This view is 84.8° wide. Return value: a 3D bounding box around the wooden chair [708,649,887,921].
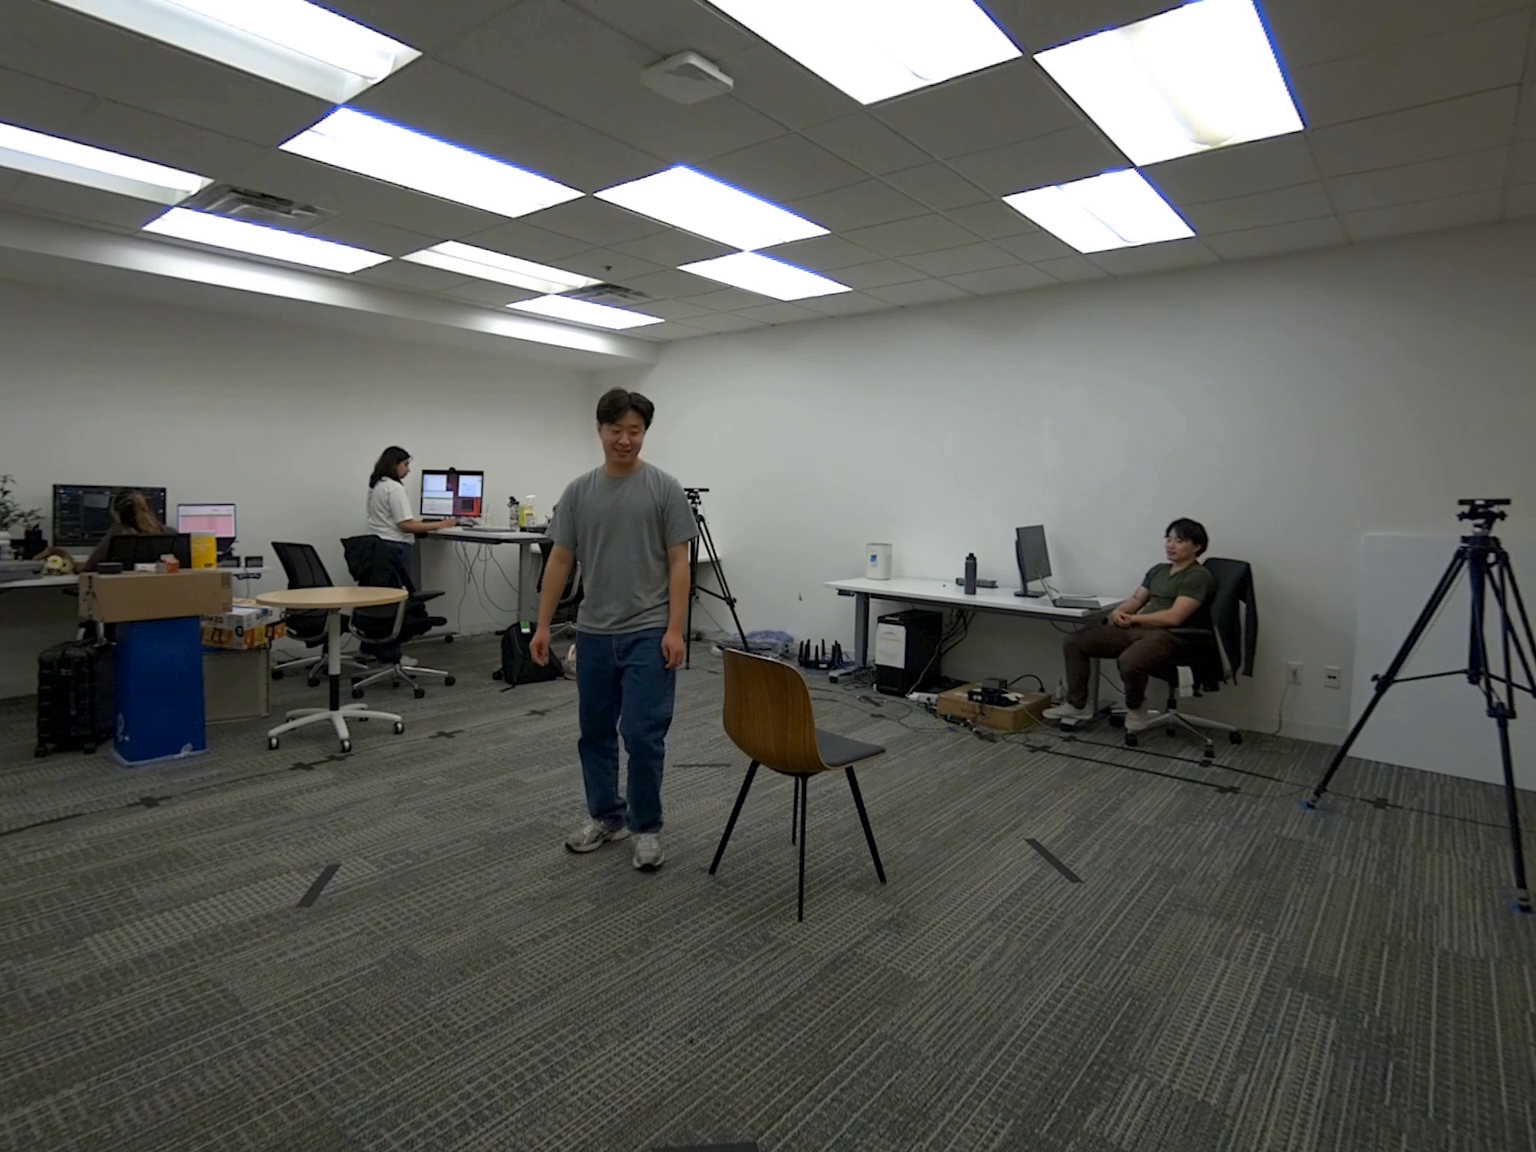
[{"bbox_3d":[0.111,0.658,3.030,0.509,0.872,0.494,-8,8,-43],"label":"wooden chair"}]
